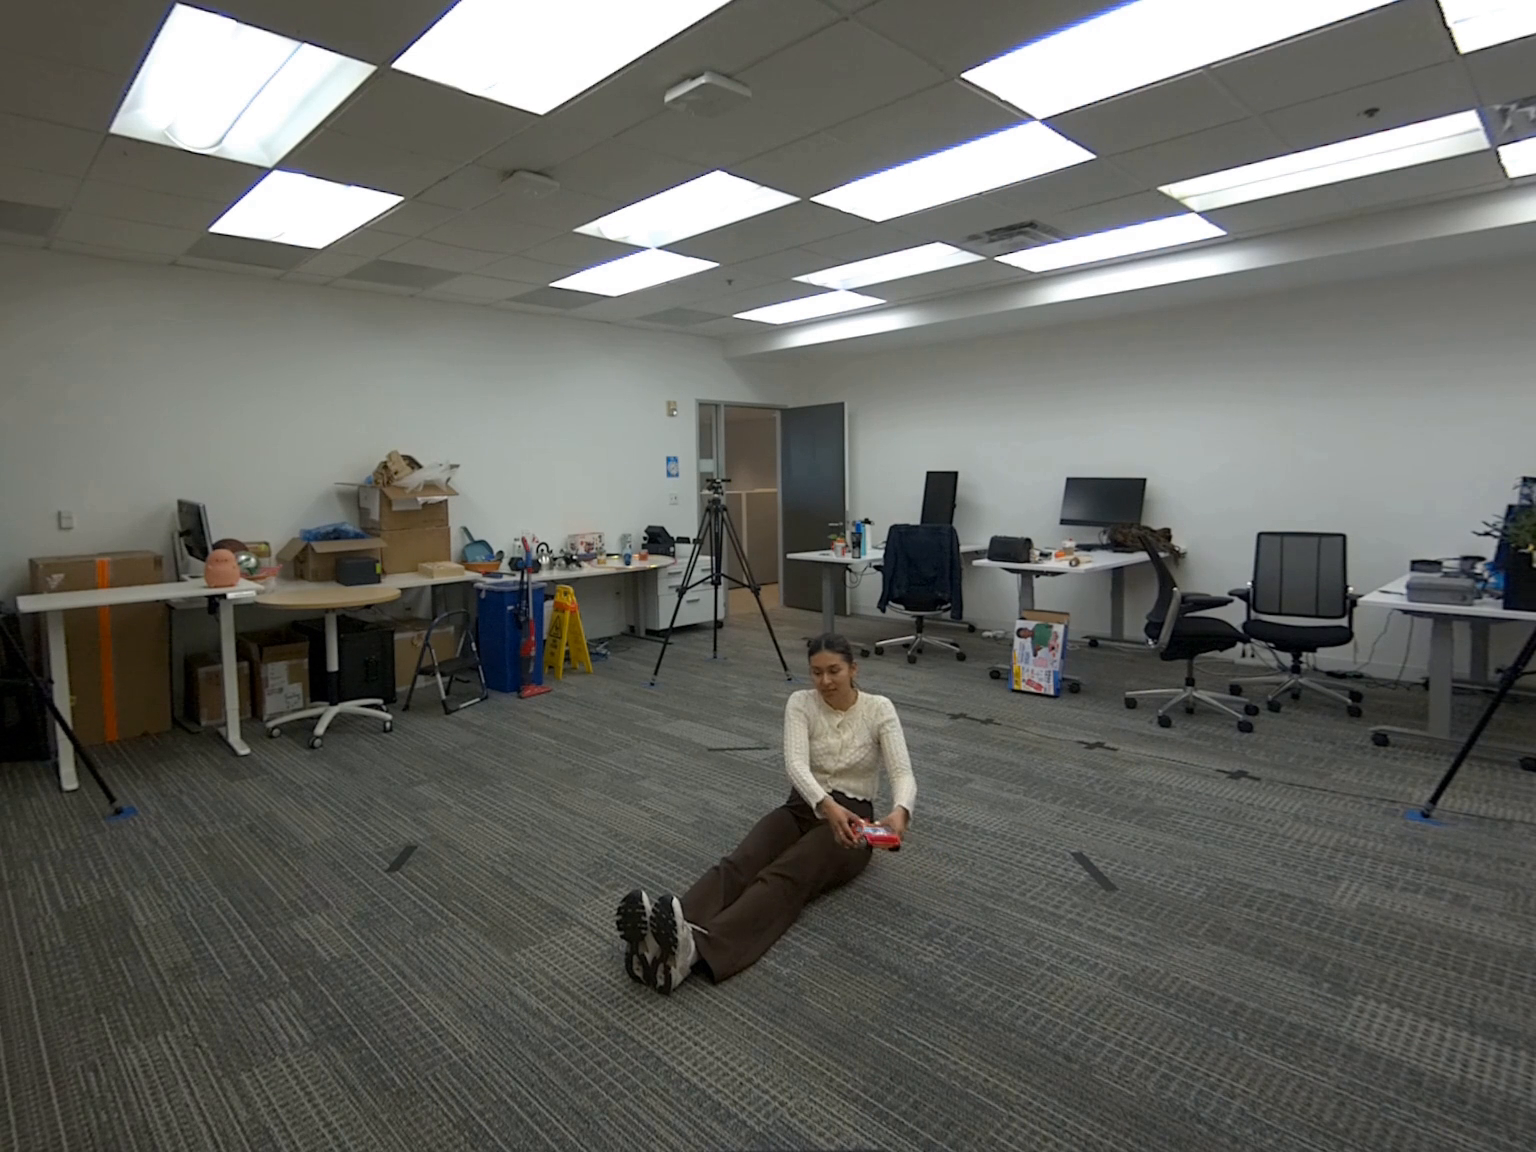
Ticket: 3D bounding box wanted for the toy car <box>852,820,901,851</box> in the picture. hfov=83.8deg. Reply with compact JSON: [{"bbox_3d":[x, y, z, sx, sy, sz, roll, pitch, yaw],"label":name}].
[{"bbox_3d":[0.315,0.816,2.658,0.129,0.083,0.257,4,-2,-12],"label":"toy car"}]
